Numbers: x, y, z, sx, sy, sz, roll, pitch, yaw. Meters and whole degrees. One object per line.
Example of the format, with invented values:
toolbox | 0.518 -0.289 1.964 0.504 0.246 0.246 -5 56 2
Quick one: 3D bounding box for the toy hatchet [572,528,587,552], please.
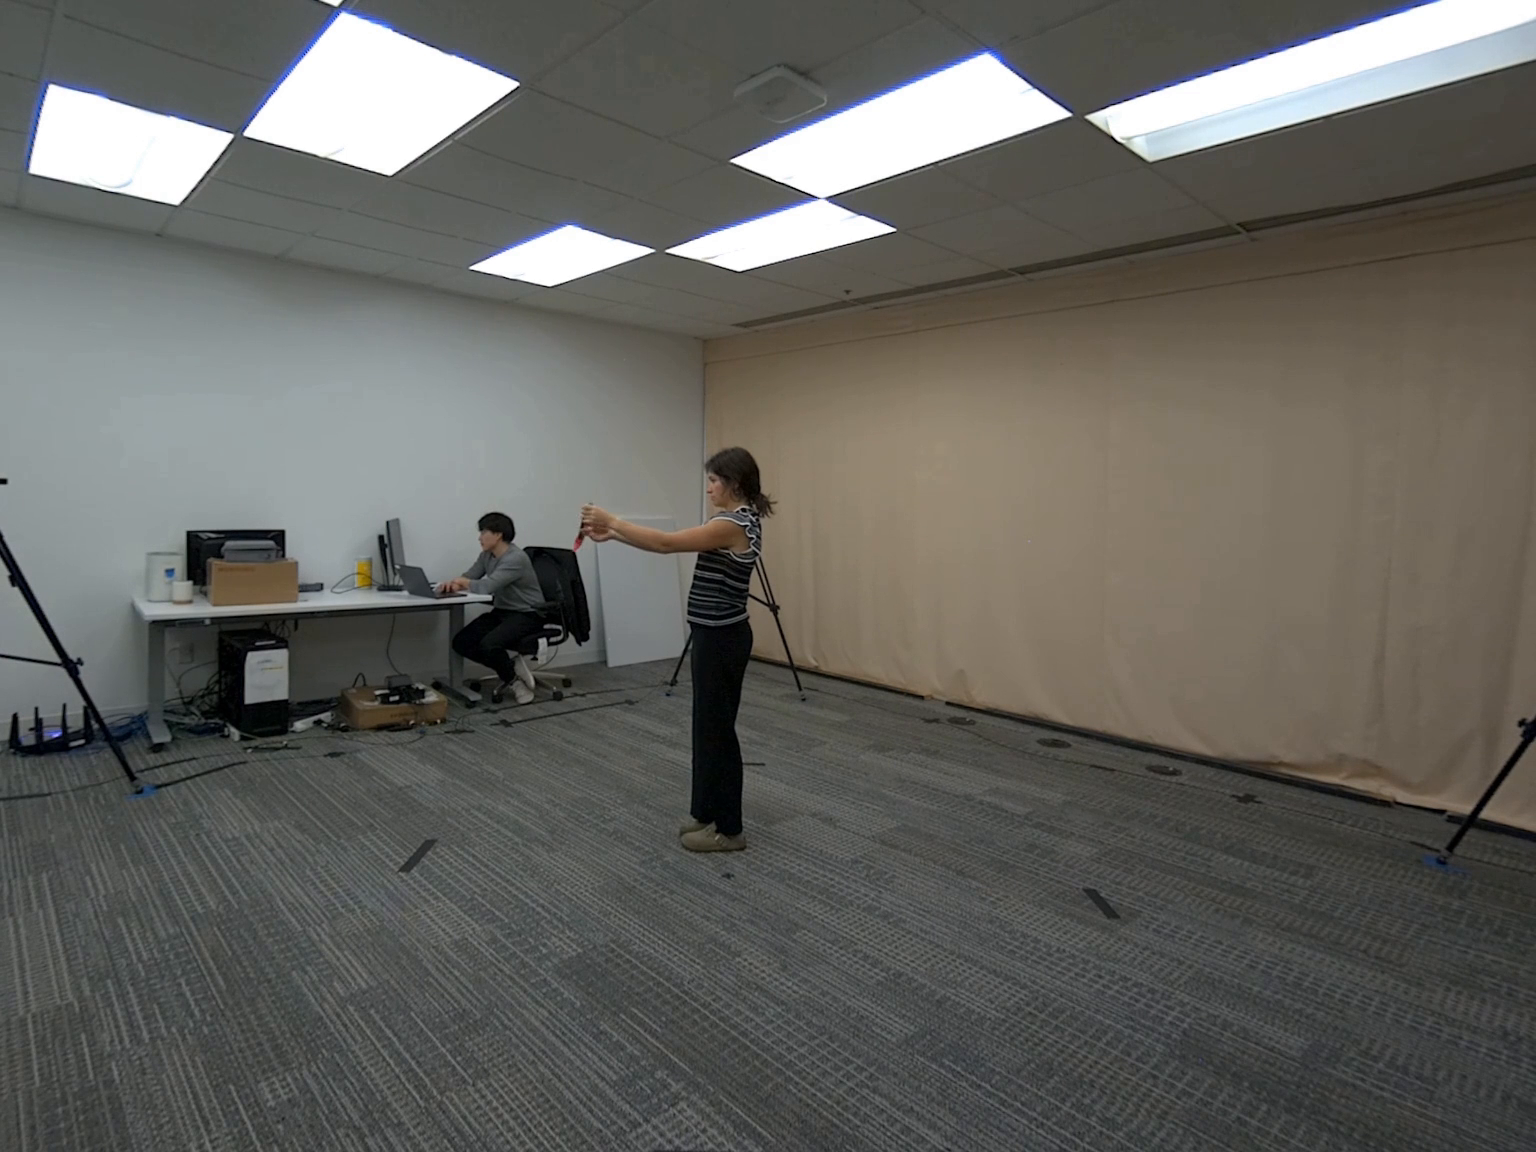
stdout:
toy hatchet | -0.739 -0.207 3.376 0.029 0.268 0.132 29 46 0
